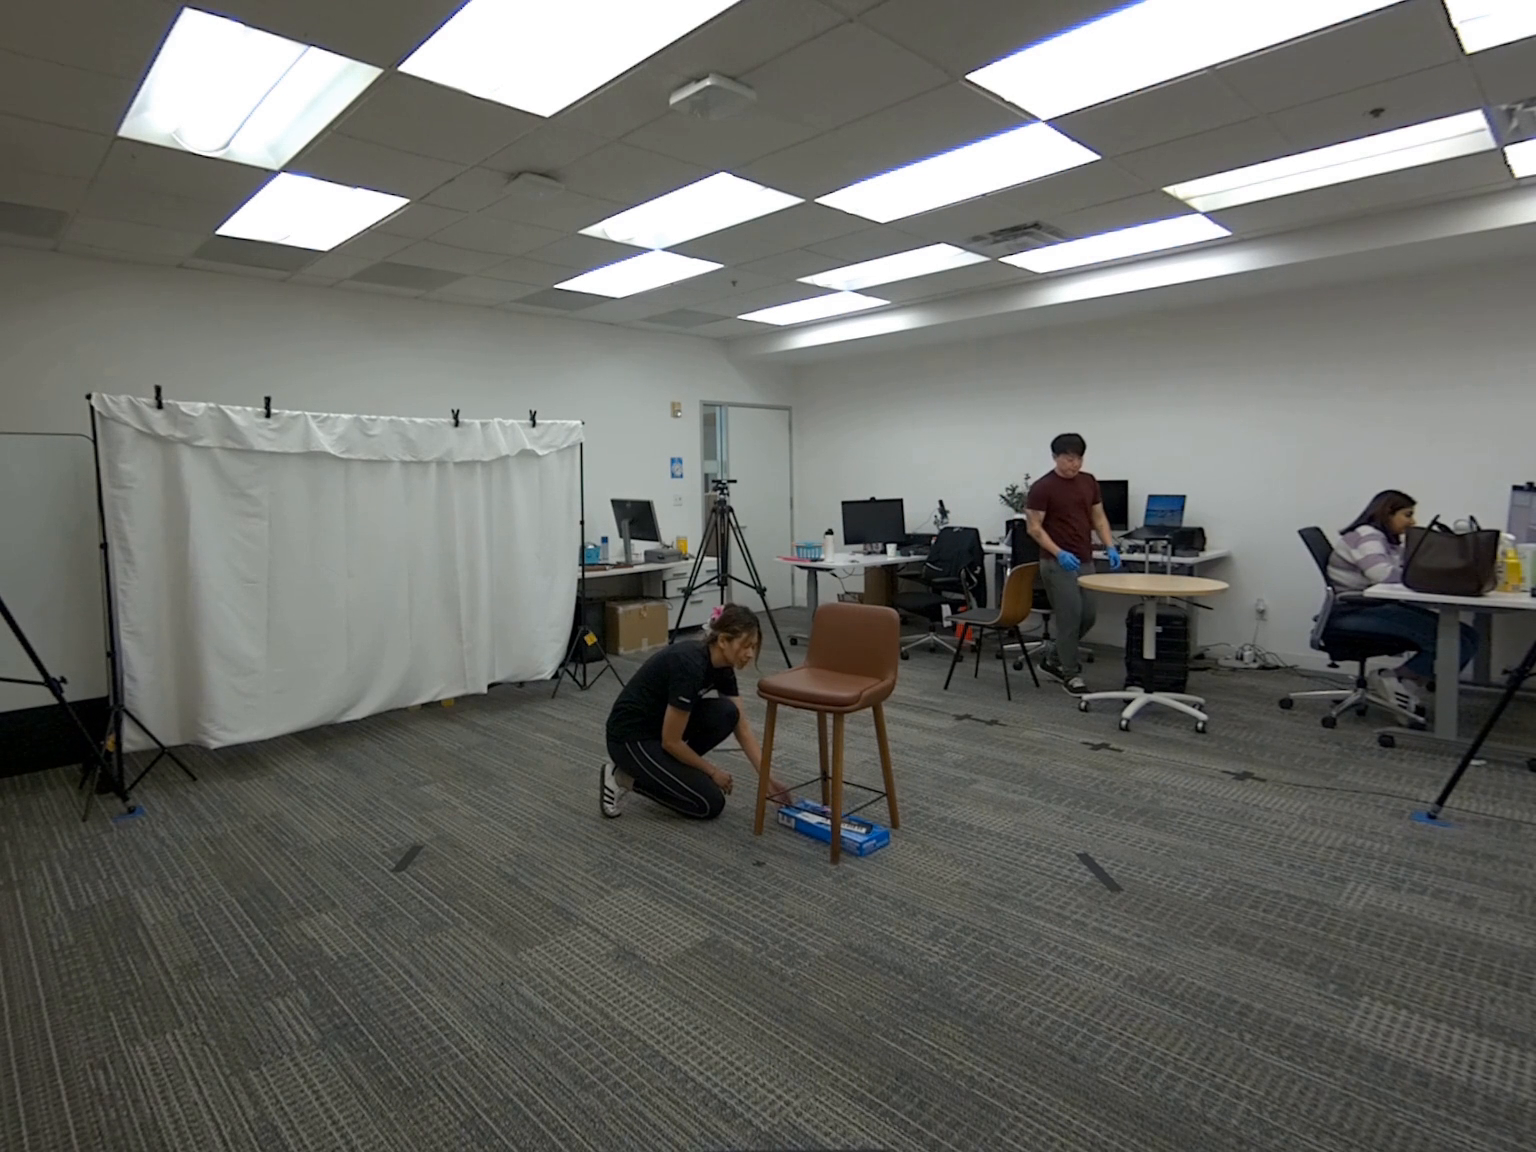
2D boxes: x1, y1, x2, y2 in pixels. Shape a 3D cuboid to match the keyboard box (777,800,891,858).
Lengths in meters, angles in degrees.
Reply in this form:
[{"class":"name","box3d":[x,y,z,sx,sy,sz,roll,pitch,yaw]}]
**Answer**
[{"class":"keyboard box","box3d":[0.246,0.982,3.352,0.171,0.059,0.450,-7,9,-43]}]
